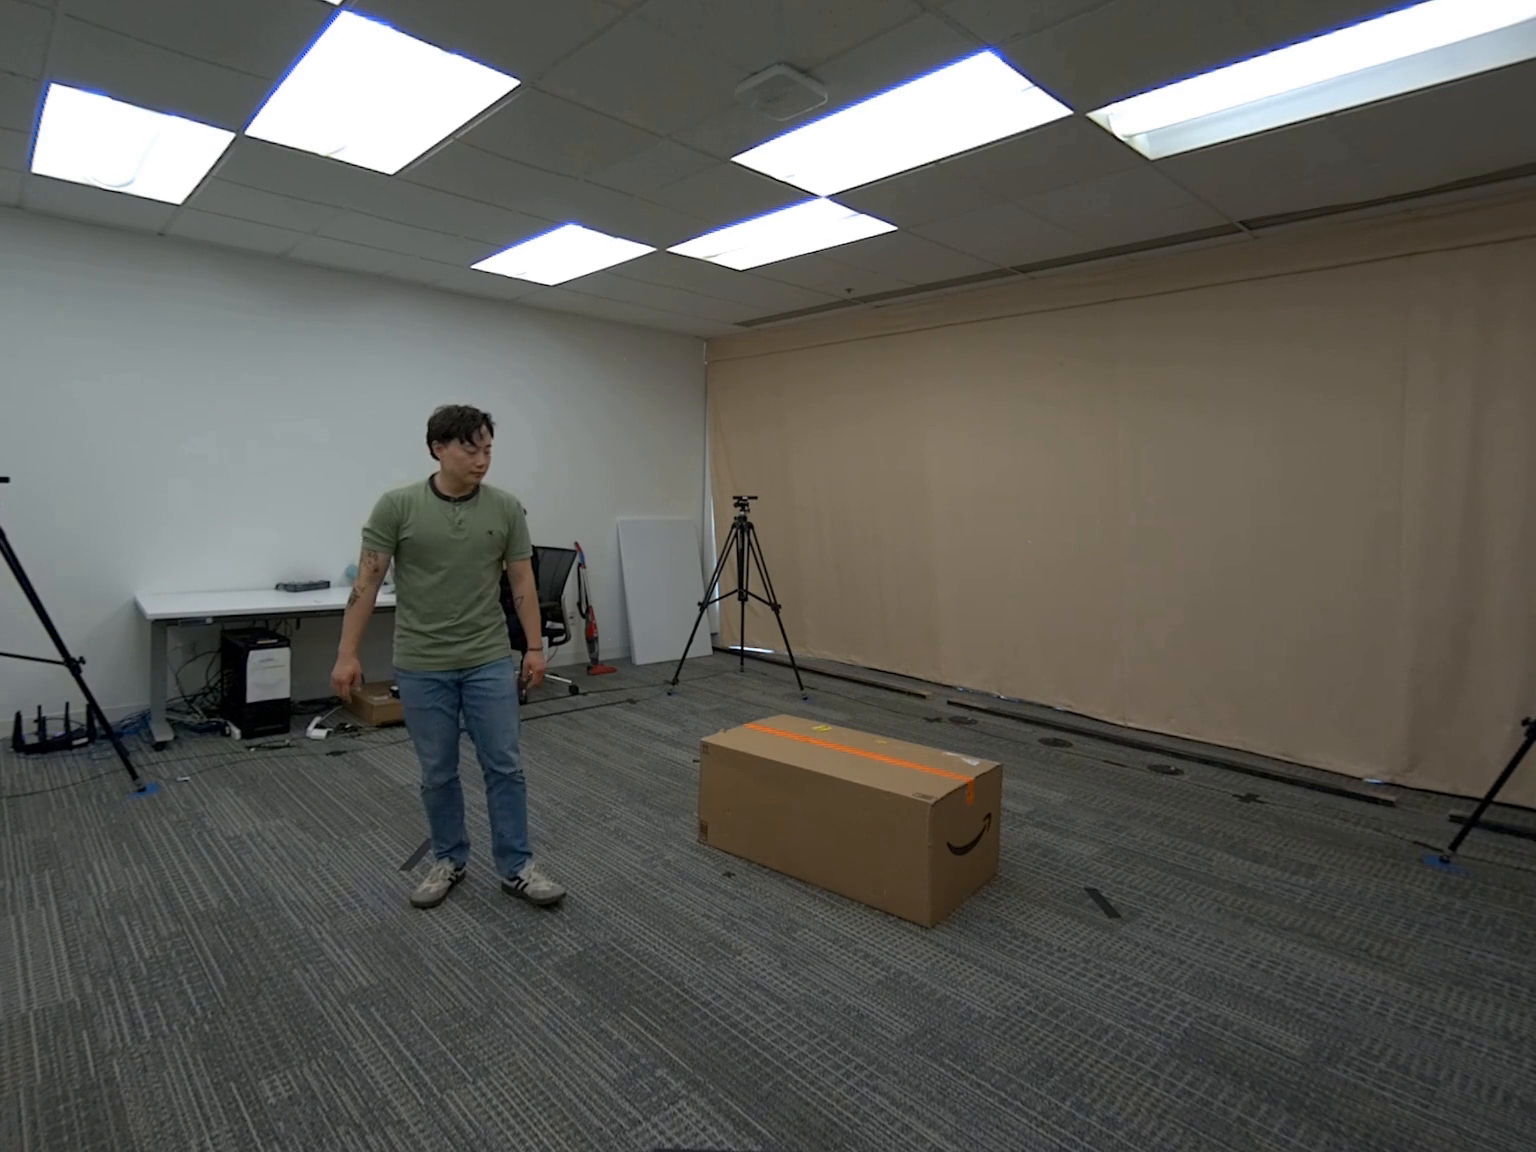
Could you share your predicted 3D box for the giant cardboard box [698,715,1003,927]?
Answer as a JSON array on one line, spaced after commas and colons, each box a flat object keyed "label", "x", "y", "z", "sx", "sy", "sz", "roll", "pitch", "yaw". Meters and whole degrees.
[{"label": "giant cardboard box", "x": 0.292, "y": 0.885, "z": 3.270, "sx": 1.051, "sy": 0.425, "sz": 0.564, "roll": 5, "pitch": 5, "yaw": 39}]
